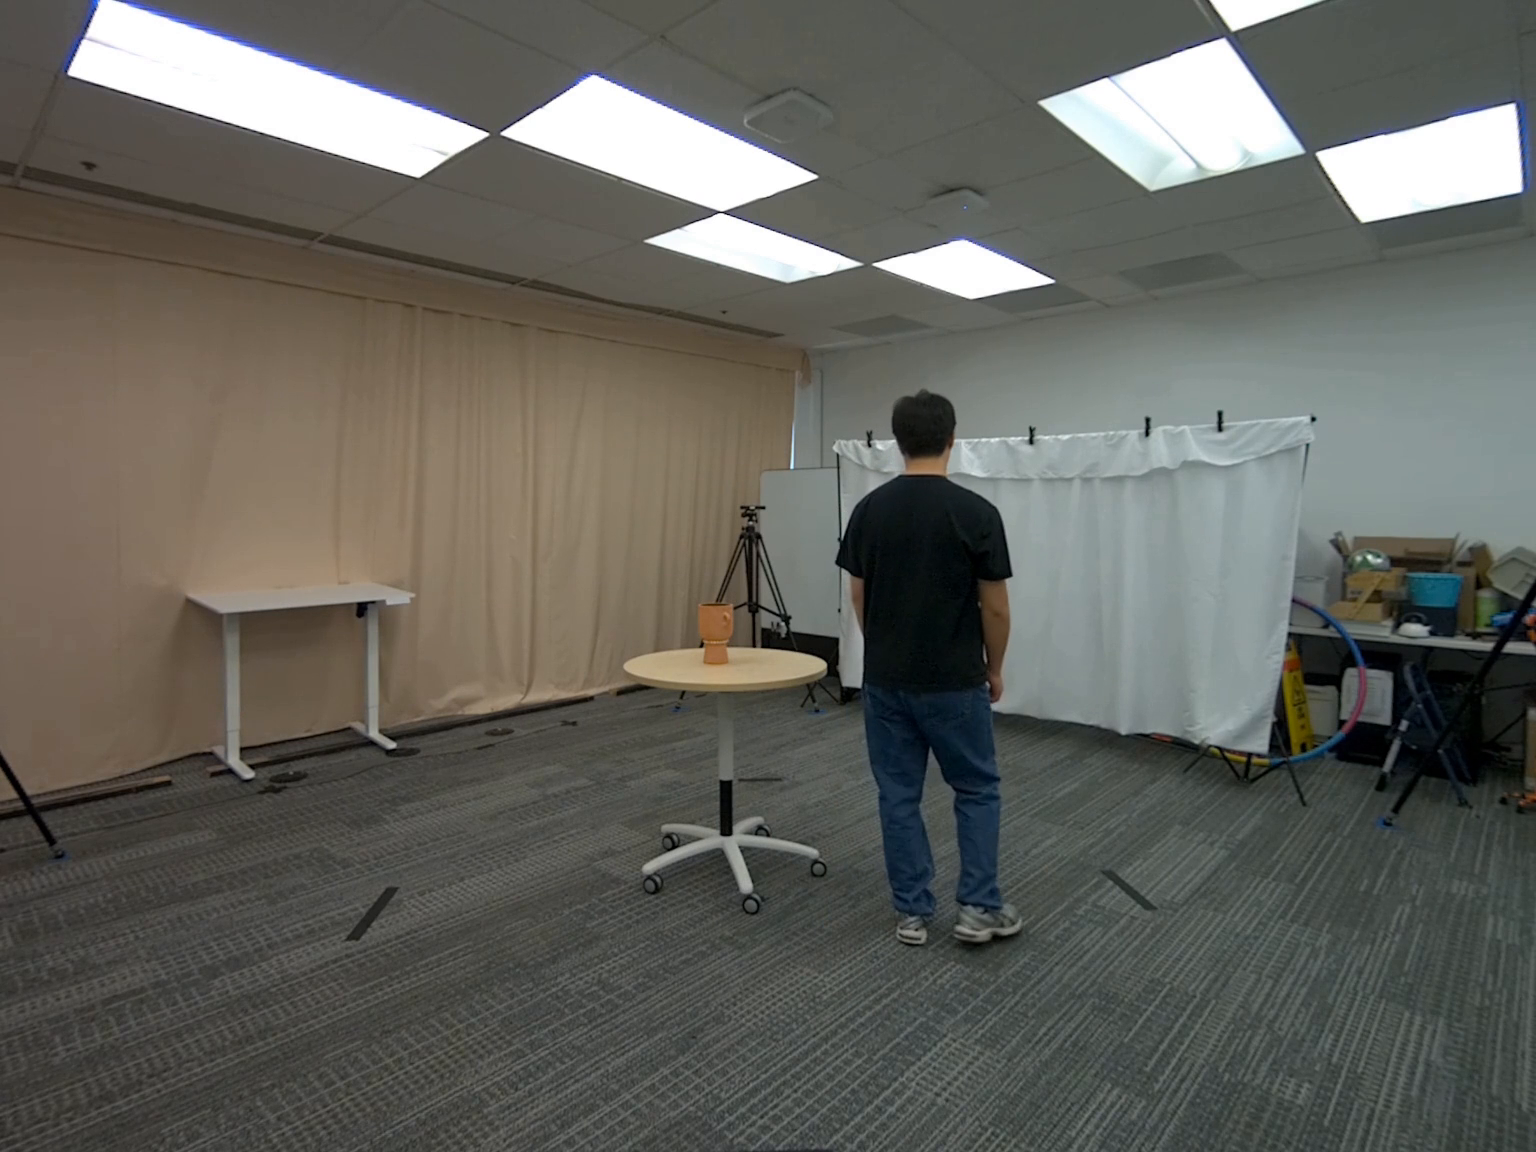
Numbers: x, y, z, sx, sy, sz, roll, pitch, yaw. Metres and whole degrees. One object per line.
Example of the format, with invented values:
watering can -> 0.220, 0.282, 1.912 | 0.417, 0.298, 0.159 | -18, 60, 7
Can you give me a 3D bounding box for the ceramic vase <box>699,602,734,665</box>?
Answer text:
ceramic vase -> -0.199, 0.223, 3.214 | 0.136, 0.219, 0.157 | -1, 3, 8
